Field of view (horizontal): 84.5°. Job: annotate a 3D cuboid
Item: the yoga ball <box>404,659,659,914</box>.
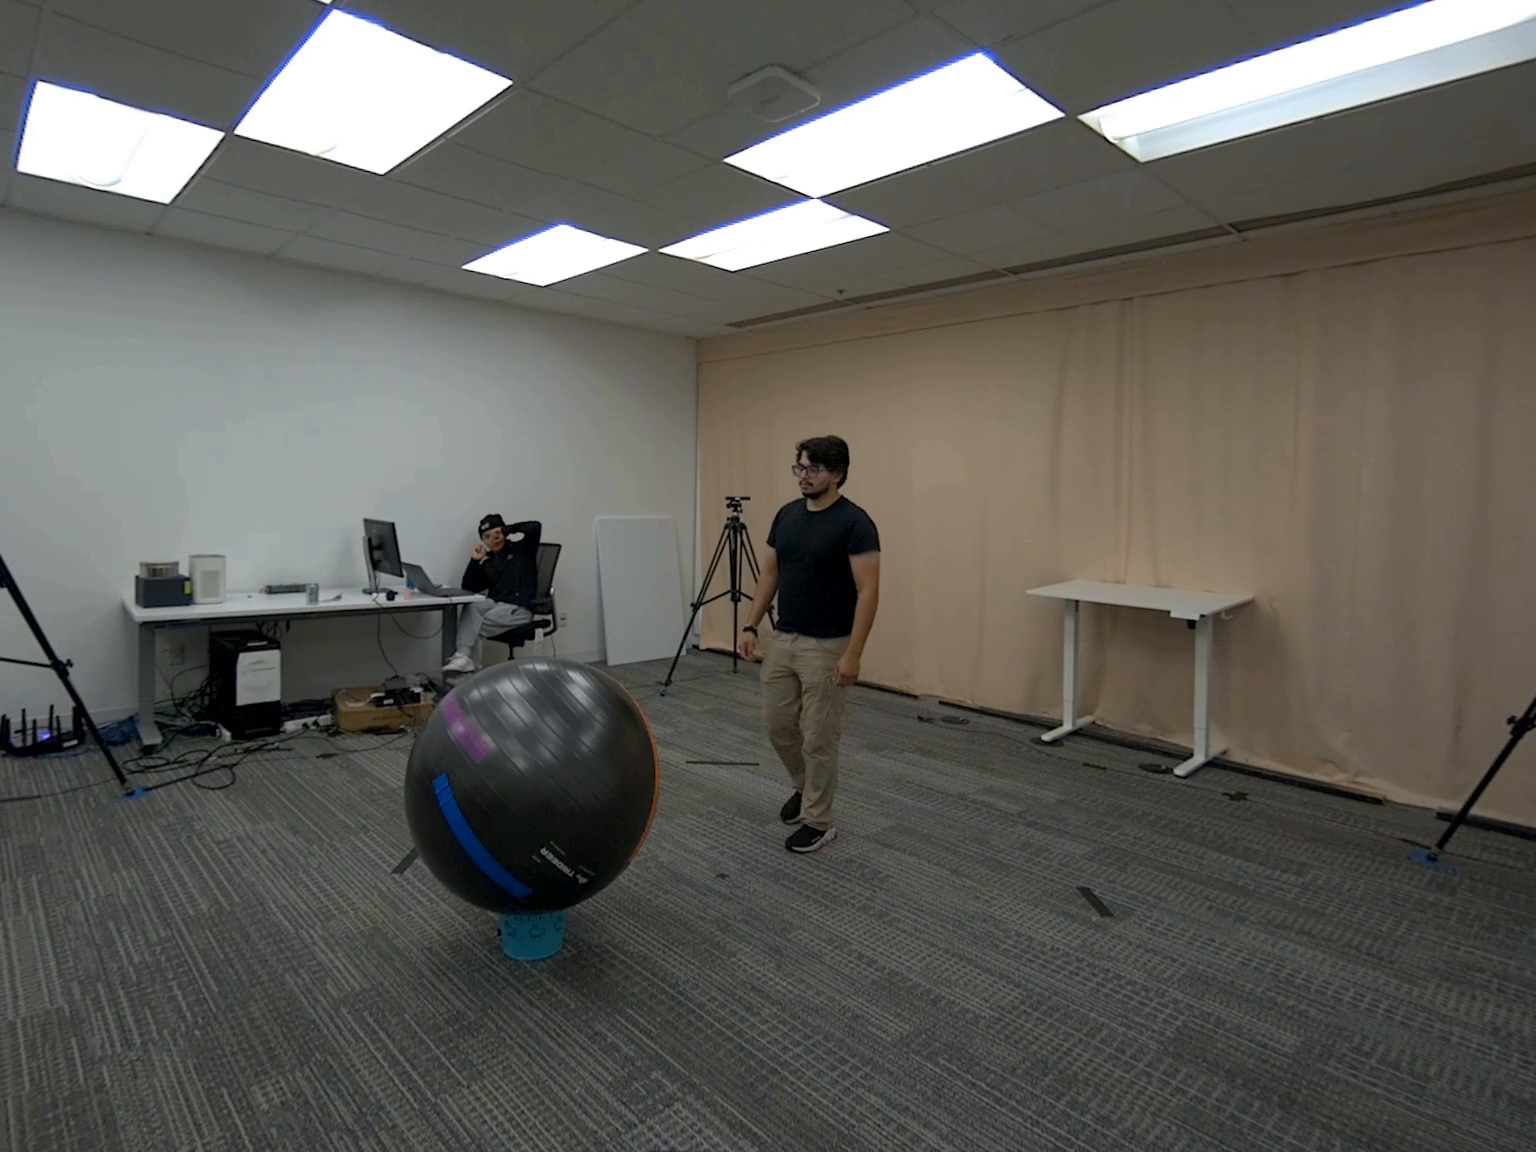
[{"bbox_3d":[-0.714,0.634,2.581,0.757,0.756,0.761,1,4,-1],"label":"yoga ball"}]
